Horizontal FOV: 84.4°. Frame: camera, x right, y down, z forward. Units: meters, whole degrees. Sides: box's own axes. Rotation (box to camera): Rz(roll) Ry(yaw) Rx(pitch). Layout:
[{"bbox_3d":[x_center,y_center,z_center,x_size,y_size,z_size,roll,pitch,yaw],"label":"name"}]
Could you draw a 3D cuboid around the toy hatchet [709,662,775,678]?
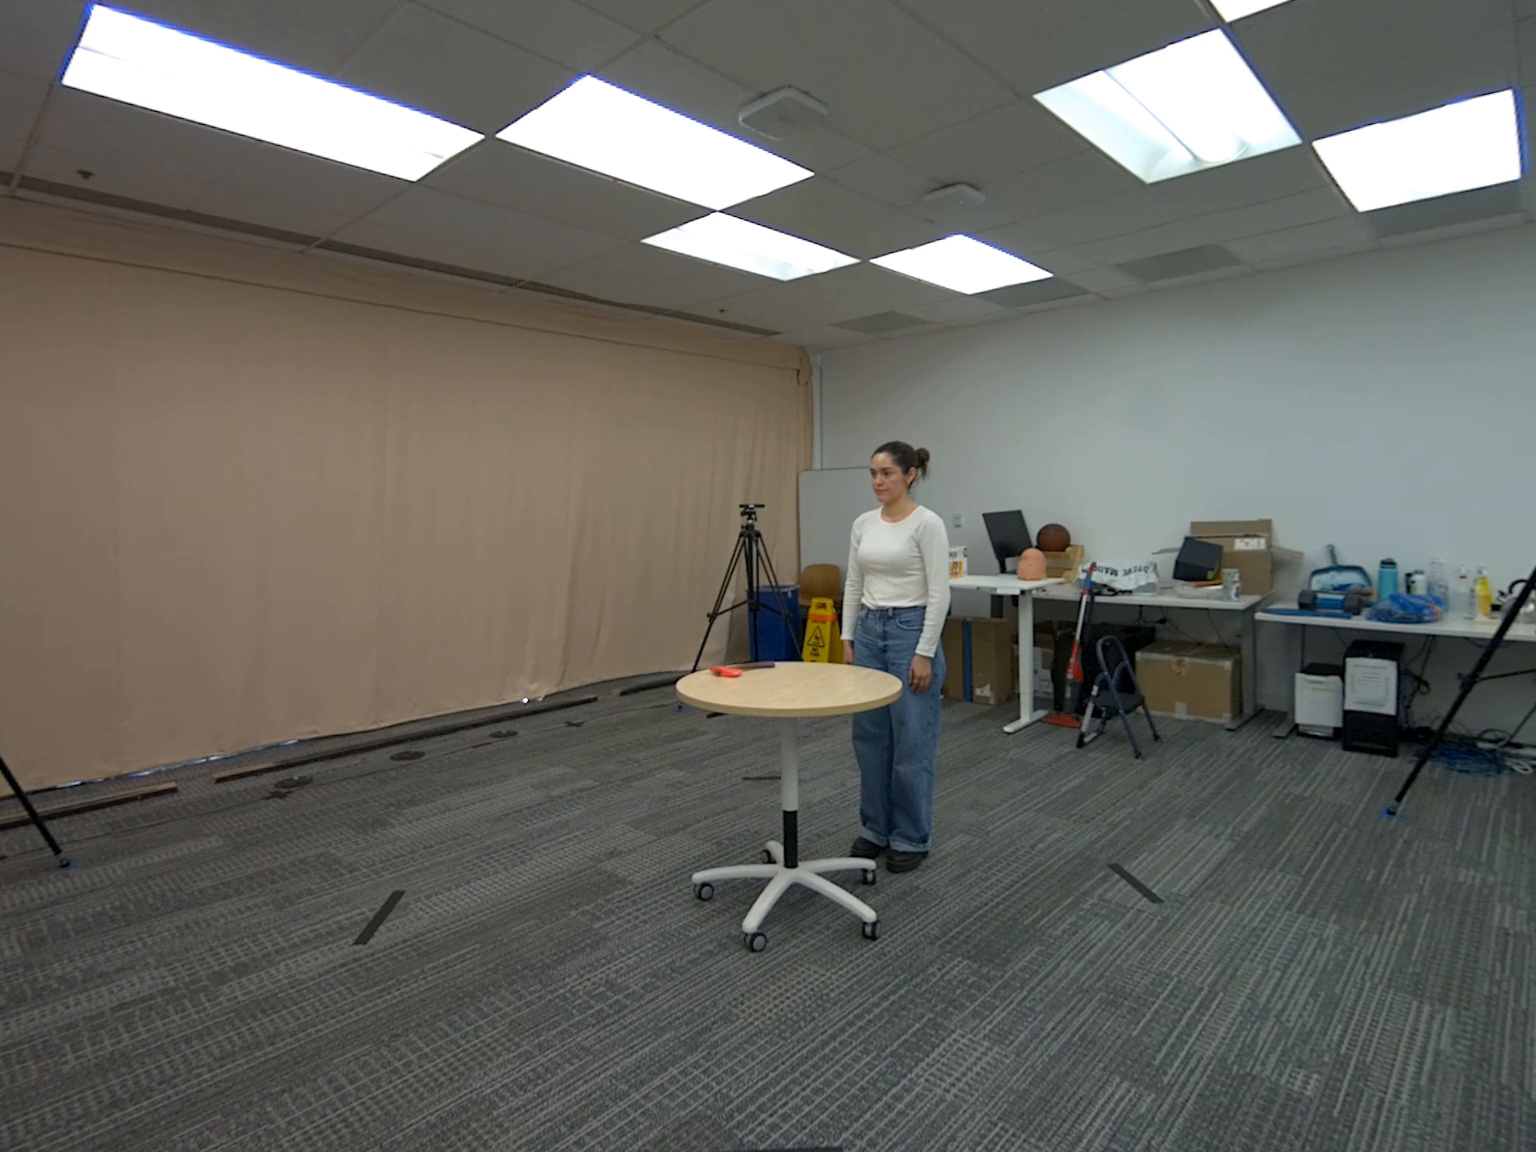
[{"bbox_3d":[-0.076,0.345,3.067,0.263,0.029,0.135,-2,6,-26],"label":"toy hatchet"}]
